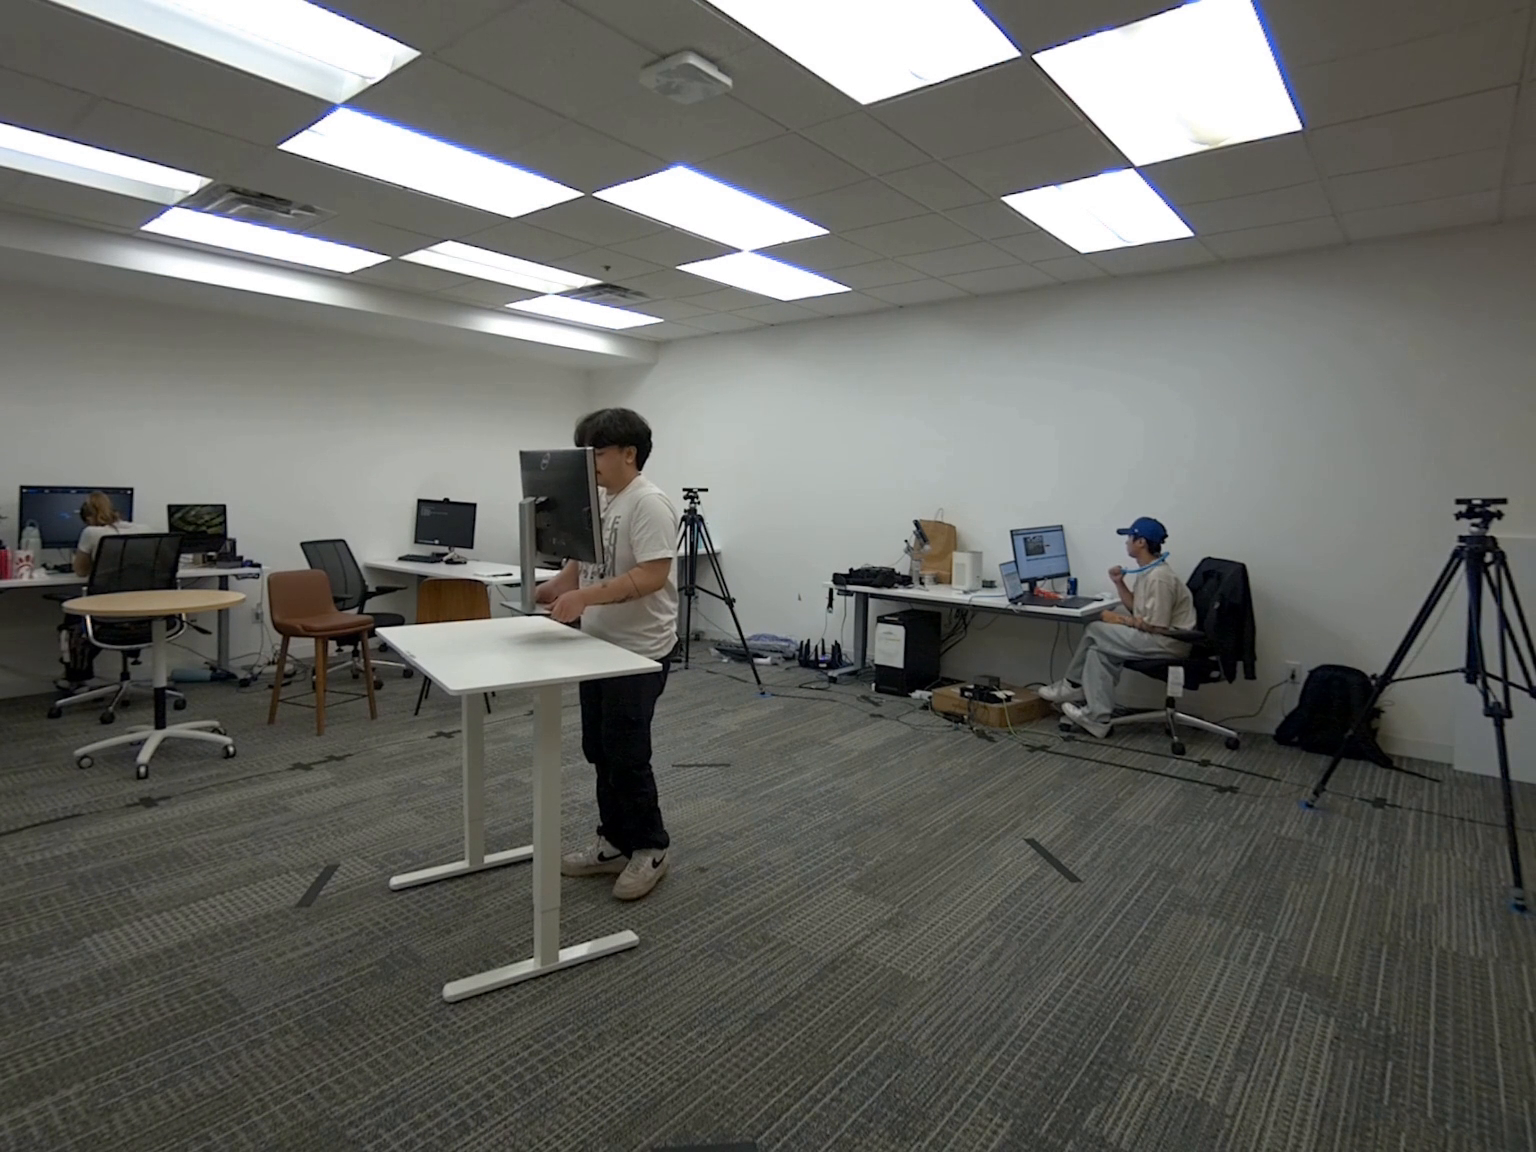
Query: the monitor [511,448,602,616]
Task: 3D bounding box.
[{"bbox_3d":[-0.760,-0.153,2.801,0.204,0.551,0.585,-2,7,-36],"label":"monitor"}]
